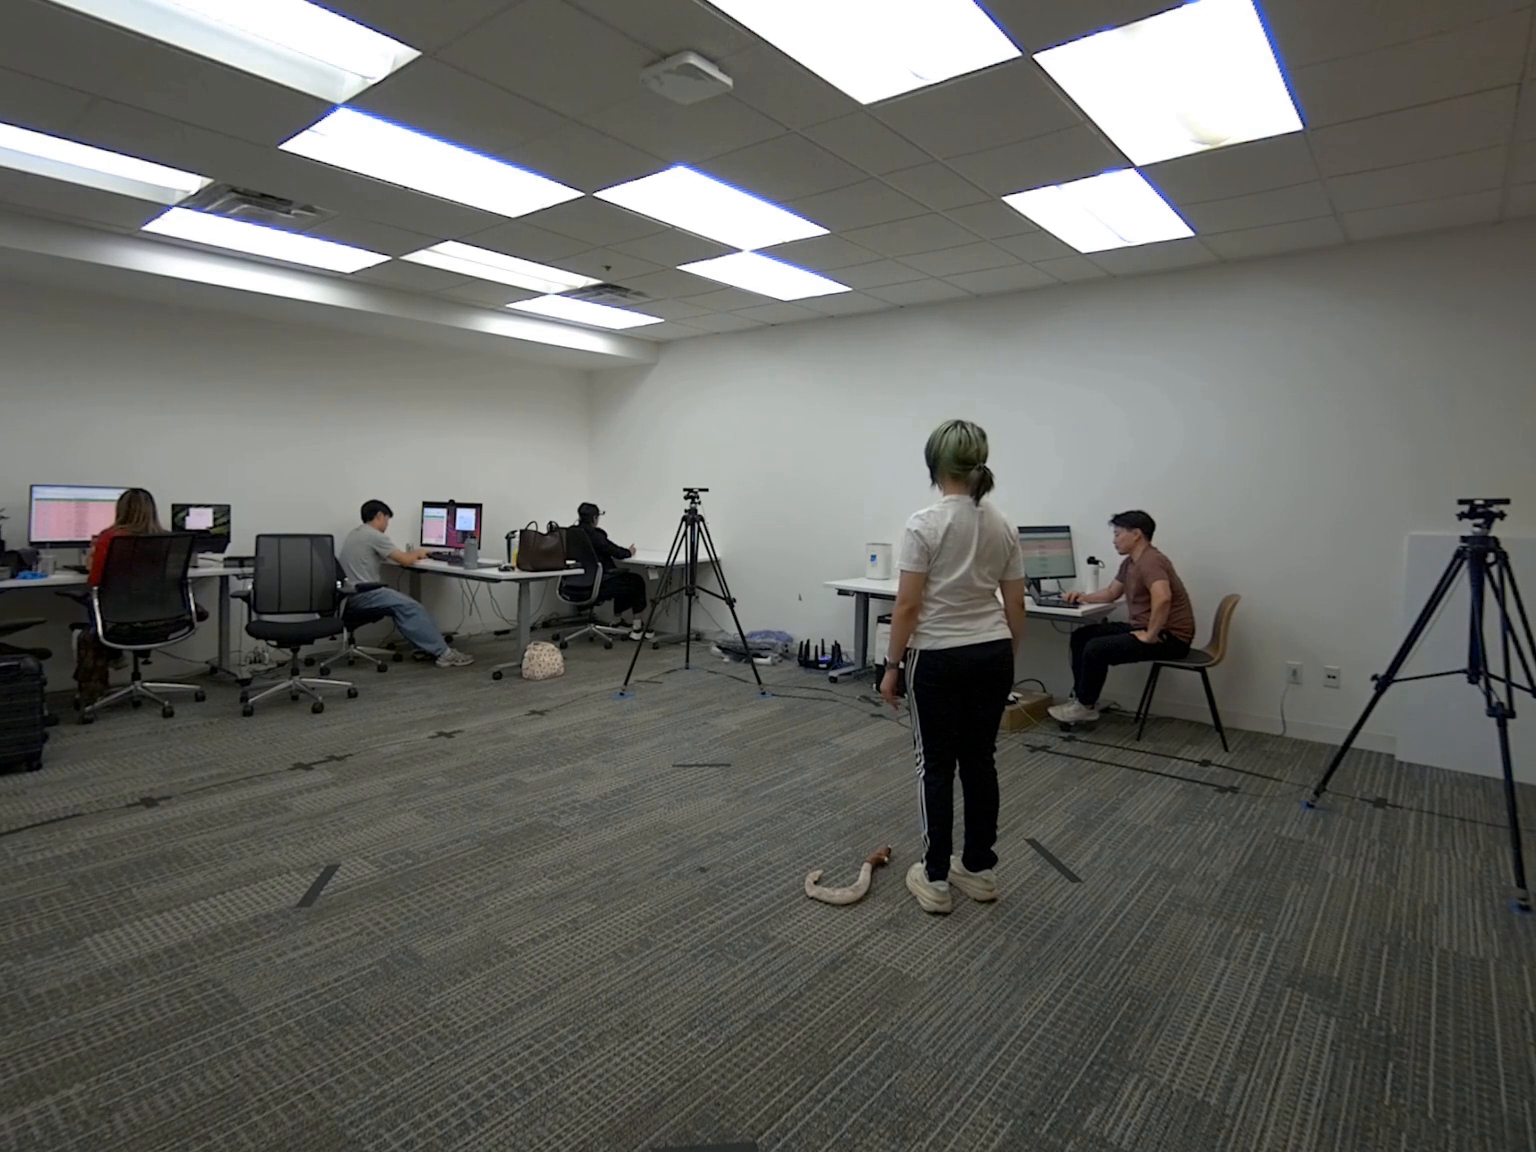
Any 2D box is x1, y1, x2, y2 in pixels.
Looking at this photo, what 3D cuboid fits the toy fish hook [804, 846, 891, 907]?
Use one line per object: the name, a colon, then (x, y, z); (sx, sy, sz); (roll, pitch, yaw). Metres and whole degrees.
toy fish hook: (0.292, 1.060, 3.082); (0.231, 0.048, 0.494); (6, 7, 28)
